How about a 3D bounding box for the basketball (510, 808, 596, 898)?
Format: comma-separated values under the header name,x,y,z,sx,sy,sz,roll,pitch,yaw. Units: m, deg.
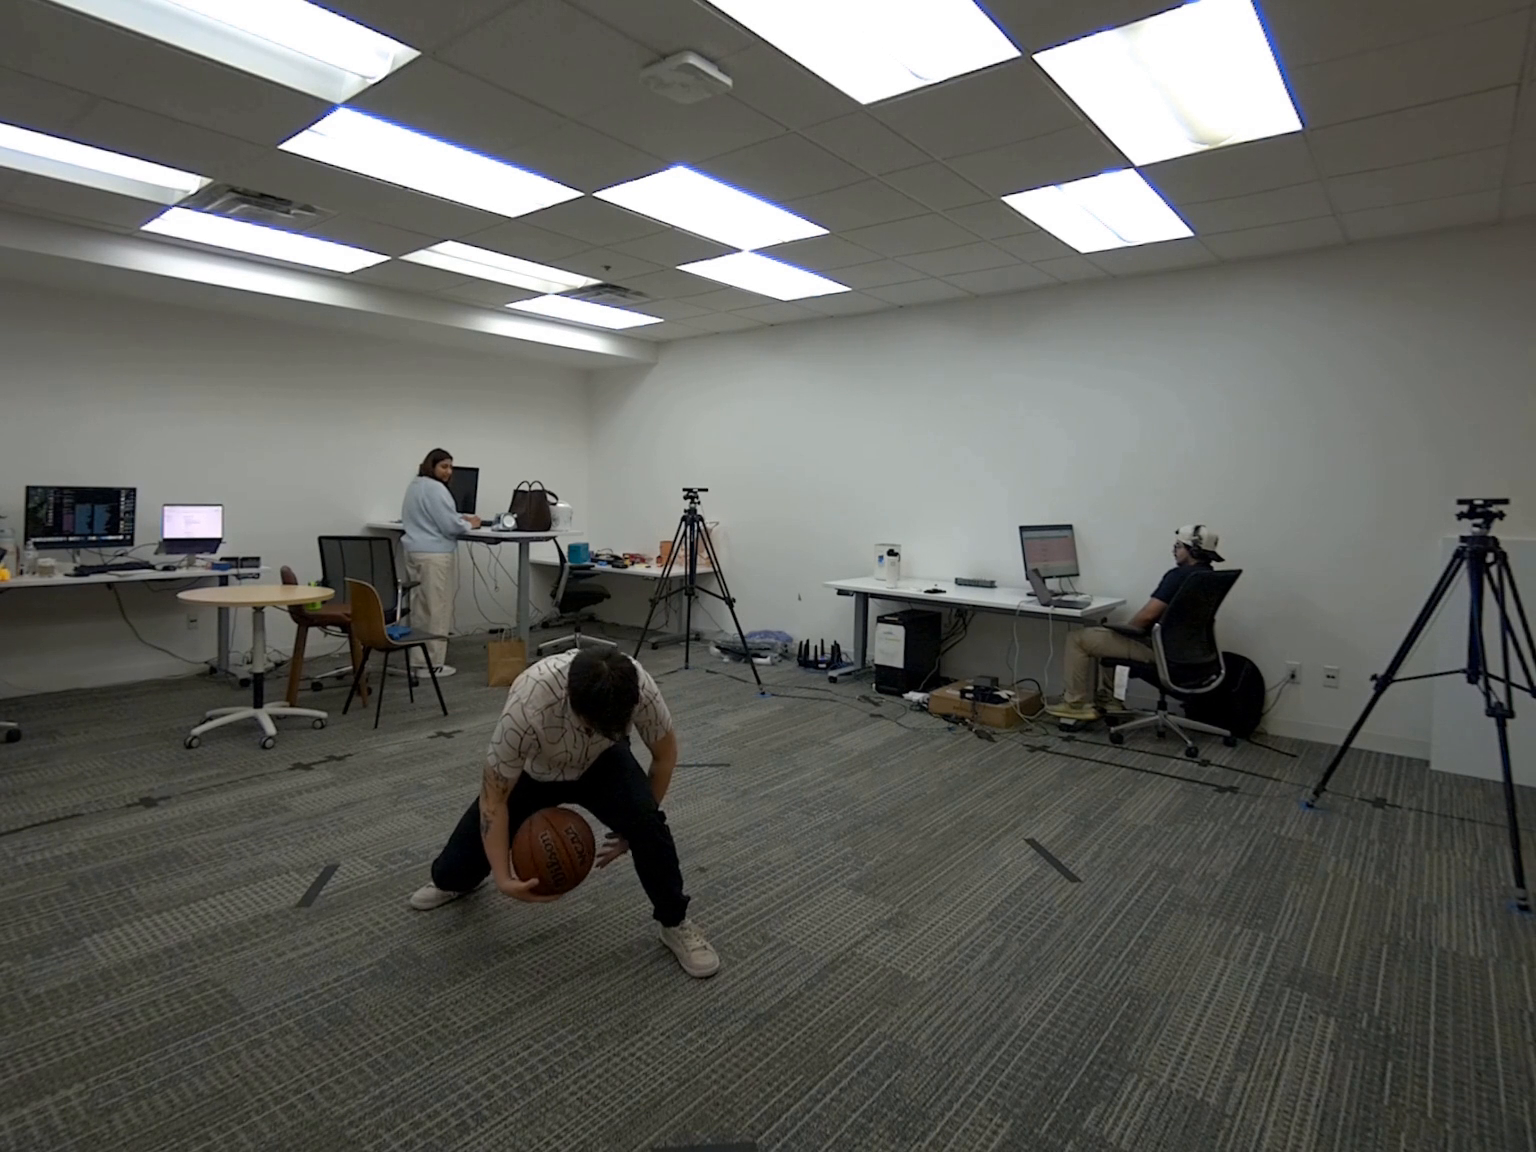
name,x,y,z,sx,sy,sz,roll,pitch,yaw
basketball,-0.623,0.785,2.437,0.235,0.235,0.237,1,4,-2
